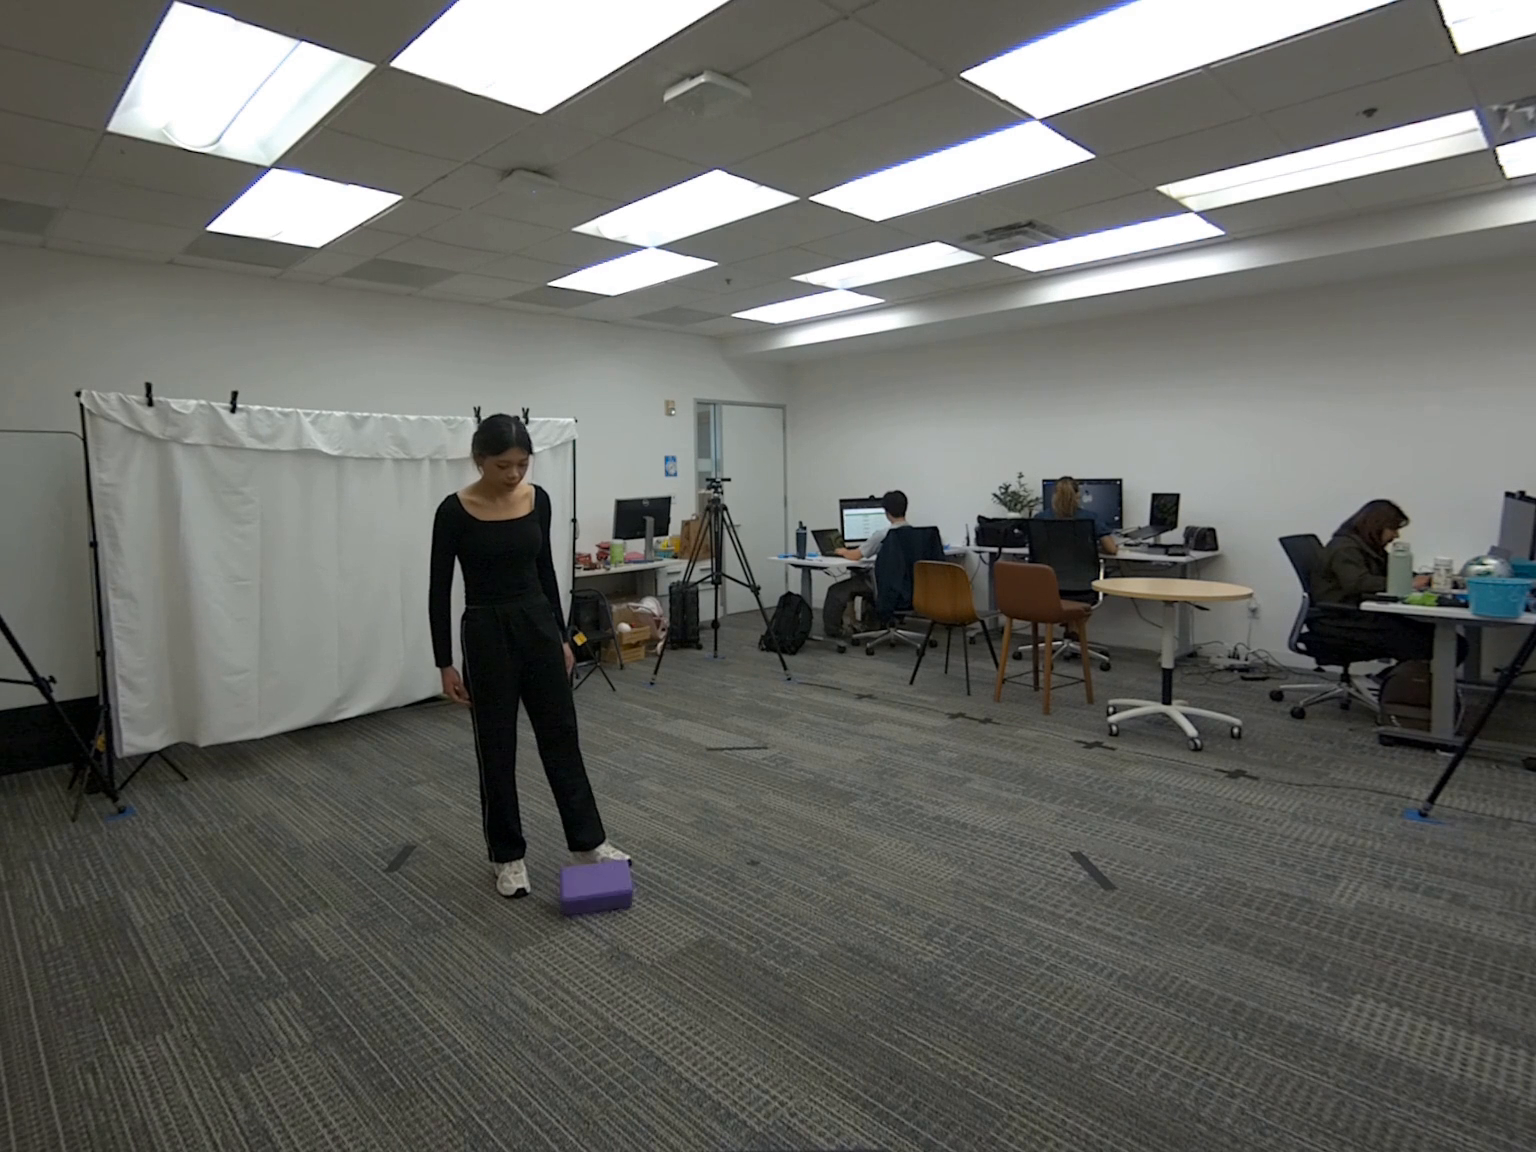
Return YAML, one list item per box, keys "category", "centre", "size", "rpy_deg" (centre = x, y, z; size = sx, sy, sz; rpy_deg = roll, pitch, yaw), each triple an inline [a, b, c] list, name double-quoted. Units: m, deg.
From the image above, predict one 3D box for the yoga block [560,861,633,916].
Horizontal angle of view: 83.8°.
- category: "yoga block"
  centre: [-0.572, 1.033, 2.826]
  size: [0.226, 0.075, 0.153]
  rpy_deg: [-4, 22, -14]
